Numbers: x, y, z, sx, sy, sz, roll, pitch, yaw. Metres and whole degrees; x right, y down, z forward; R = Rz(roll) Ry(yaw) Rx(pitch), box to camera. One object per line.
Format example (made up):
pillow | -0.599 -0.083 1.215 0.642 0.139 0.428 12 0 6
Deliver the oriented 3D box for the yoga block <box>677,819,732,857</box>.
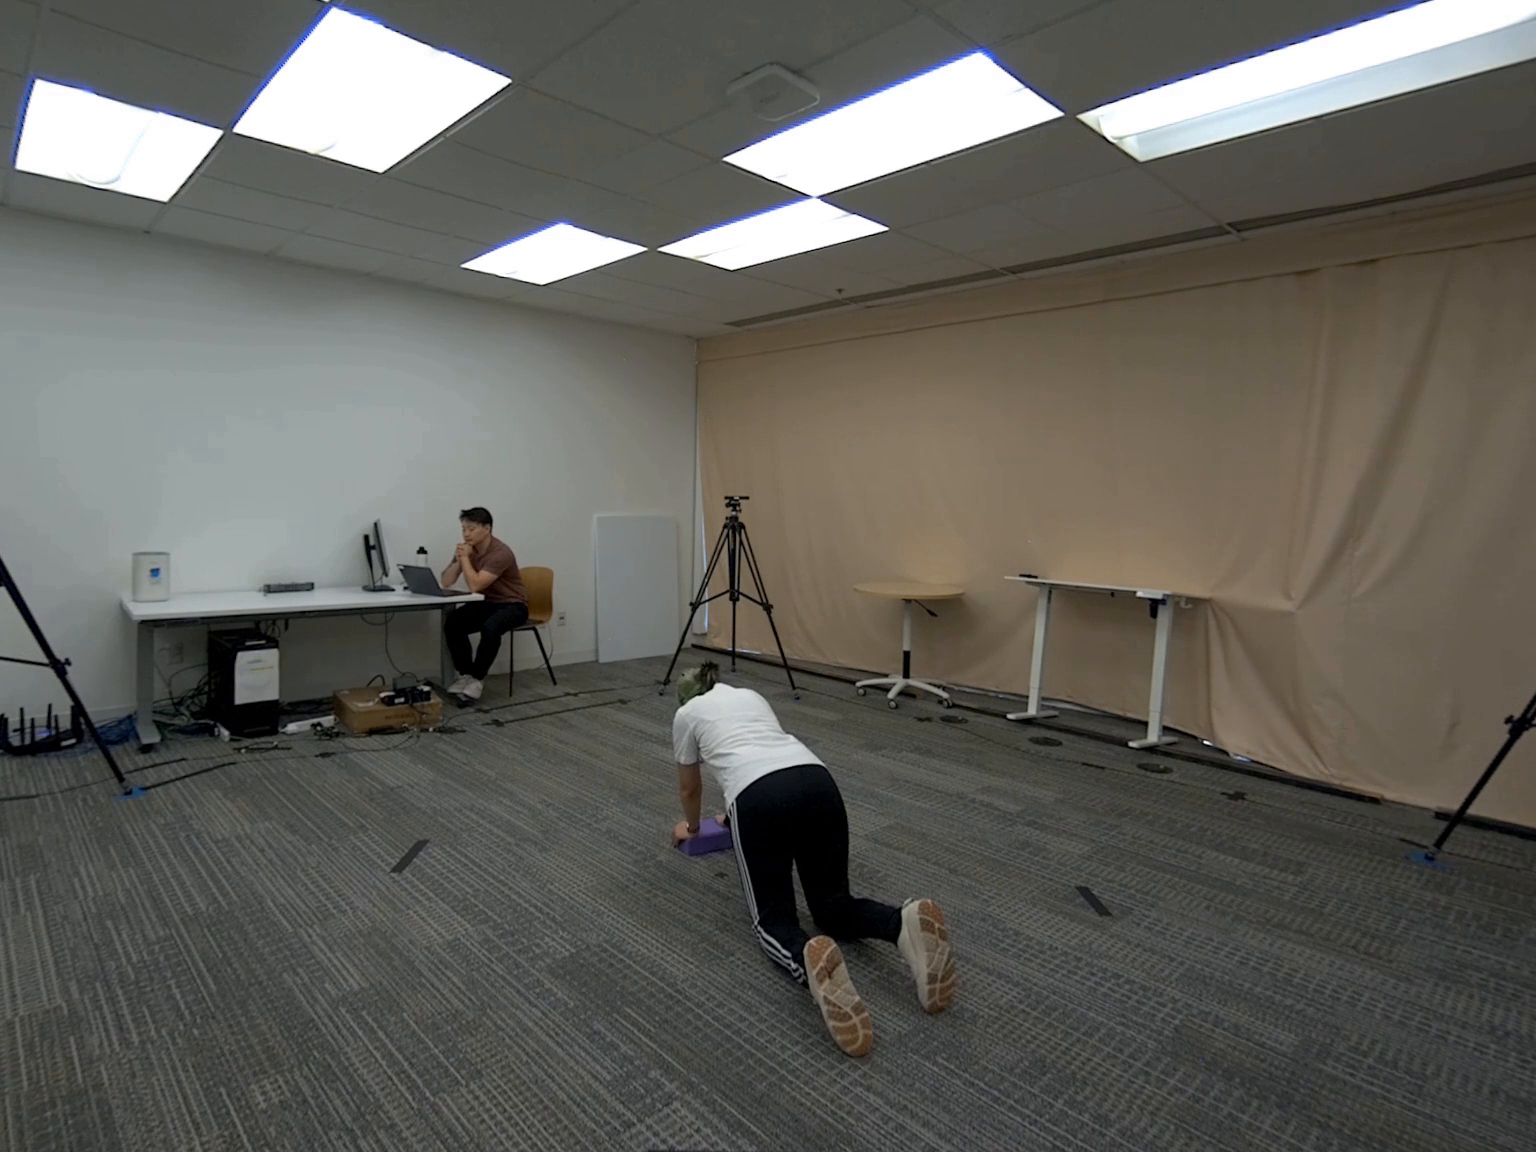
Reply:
yoga block | -0.256 1.041 3.364 0.225 0.076 0.152 -3 5 -32
